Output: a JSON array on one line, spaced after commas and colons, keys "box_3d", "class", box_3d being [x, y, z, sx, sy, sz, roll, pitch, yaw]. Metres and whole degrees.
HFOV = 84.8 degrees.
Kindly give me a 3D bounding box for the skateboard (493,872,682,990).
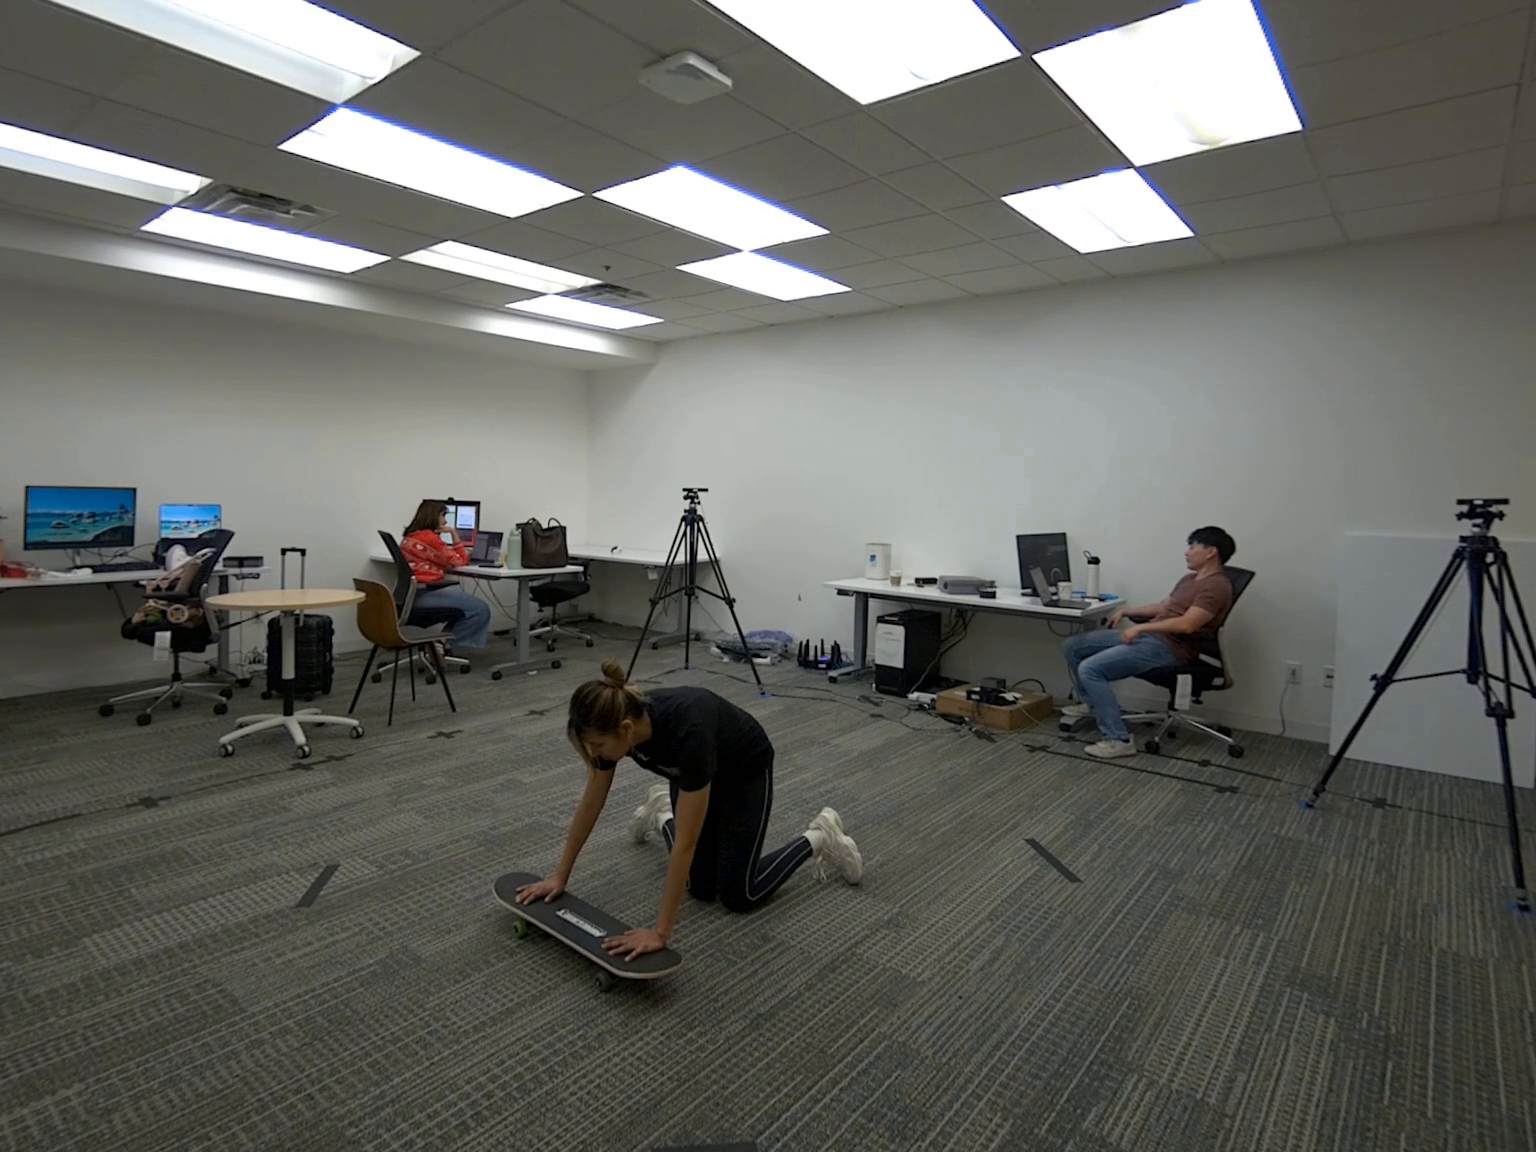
[{"box_3d": [-0.573, 1.063, 2.542, 0.812, 0.110, 0.187, 6, 4, 40], "class": "skateboard"}]
